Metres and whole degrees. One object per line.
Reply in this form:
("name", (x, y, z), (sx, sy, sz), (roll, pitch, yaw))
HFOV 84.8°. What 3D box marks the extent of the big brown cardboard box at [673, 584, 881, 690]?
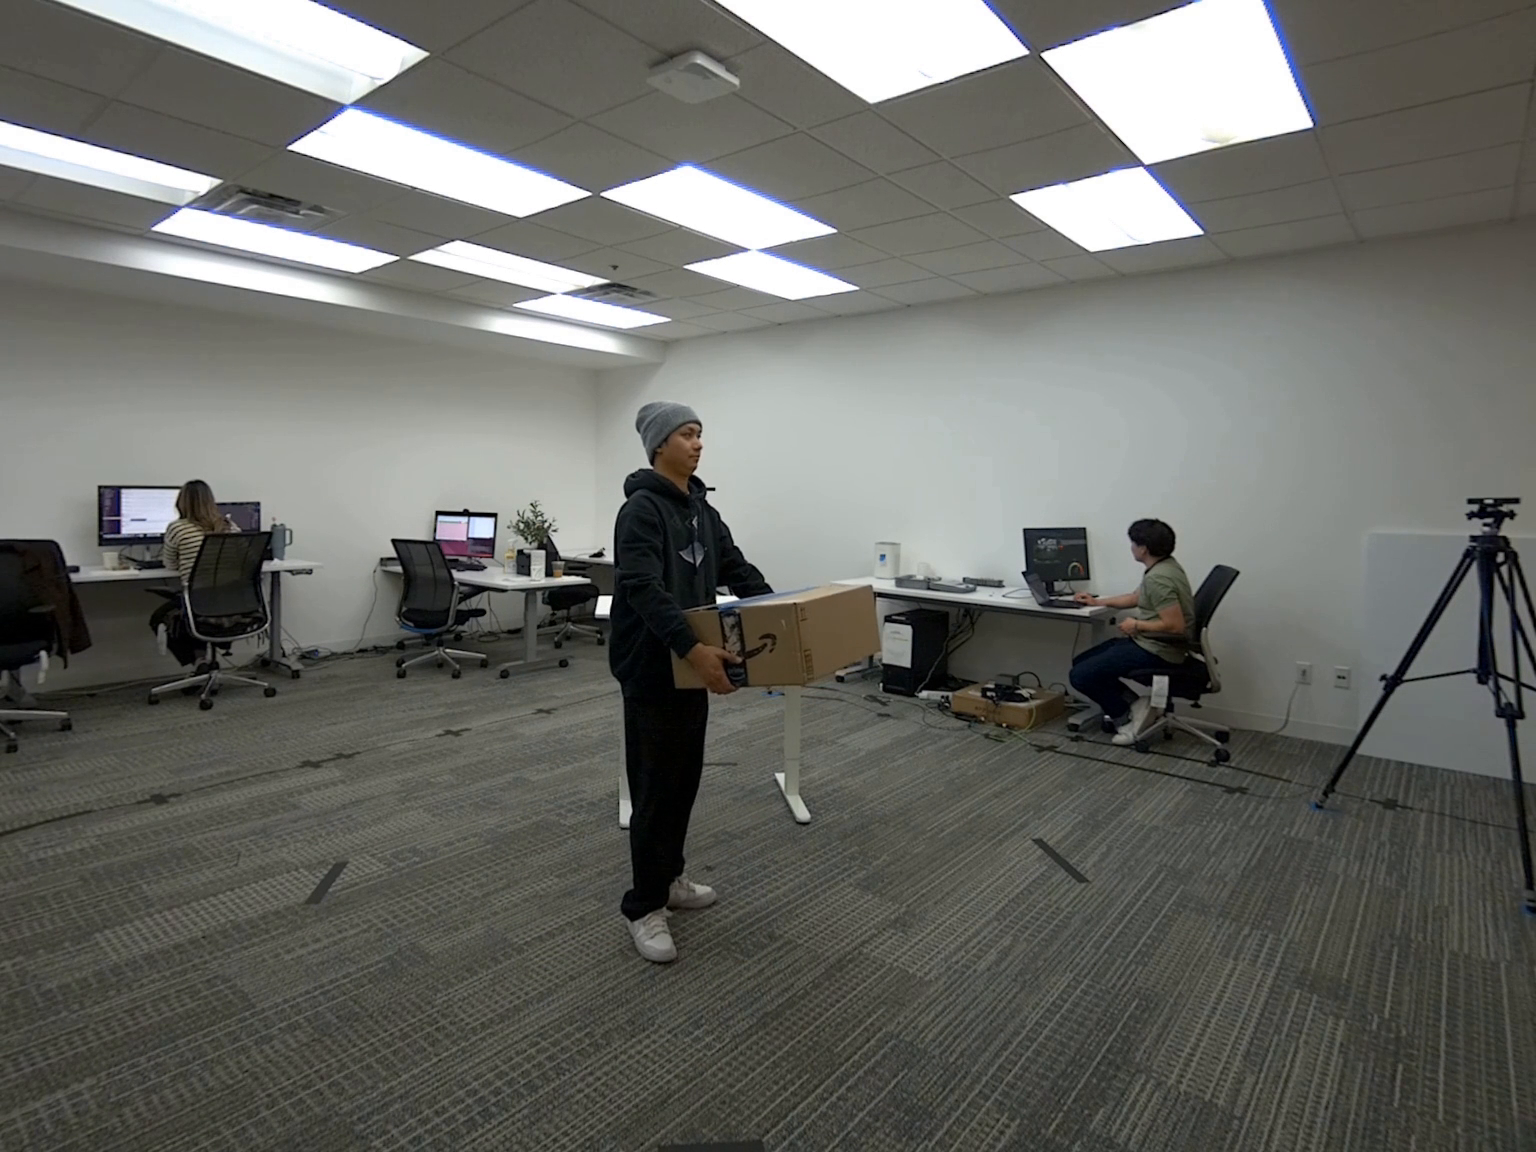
("big brown cardboard box", (0.023, 0.173, 2.532), (0.428, 0.233, 0.574), (-7, 0, 29))
